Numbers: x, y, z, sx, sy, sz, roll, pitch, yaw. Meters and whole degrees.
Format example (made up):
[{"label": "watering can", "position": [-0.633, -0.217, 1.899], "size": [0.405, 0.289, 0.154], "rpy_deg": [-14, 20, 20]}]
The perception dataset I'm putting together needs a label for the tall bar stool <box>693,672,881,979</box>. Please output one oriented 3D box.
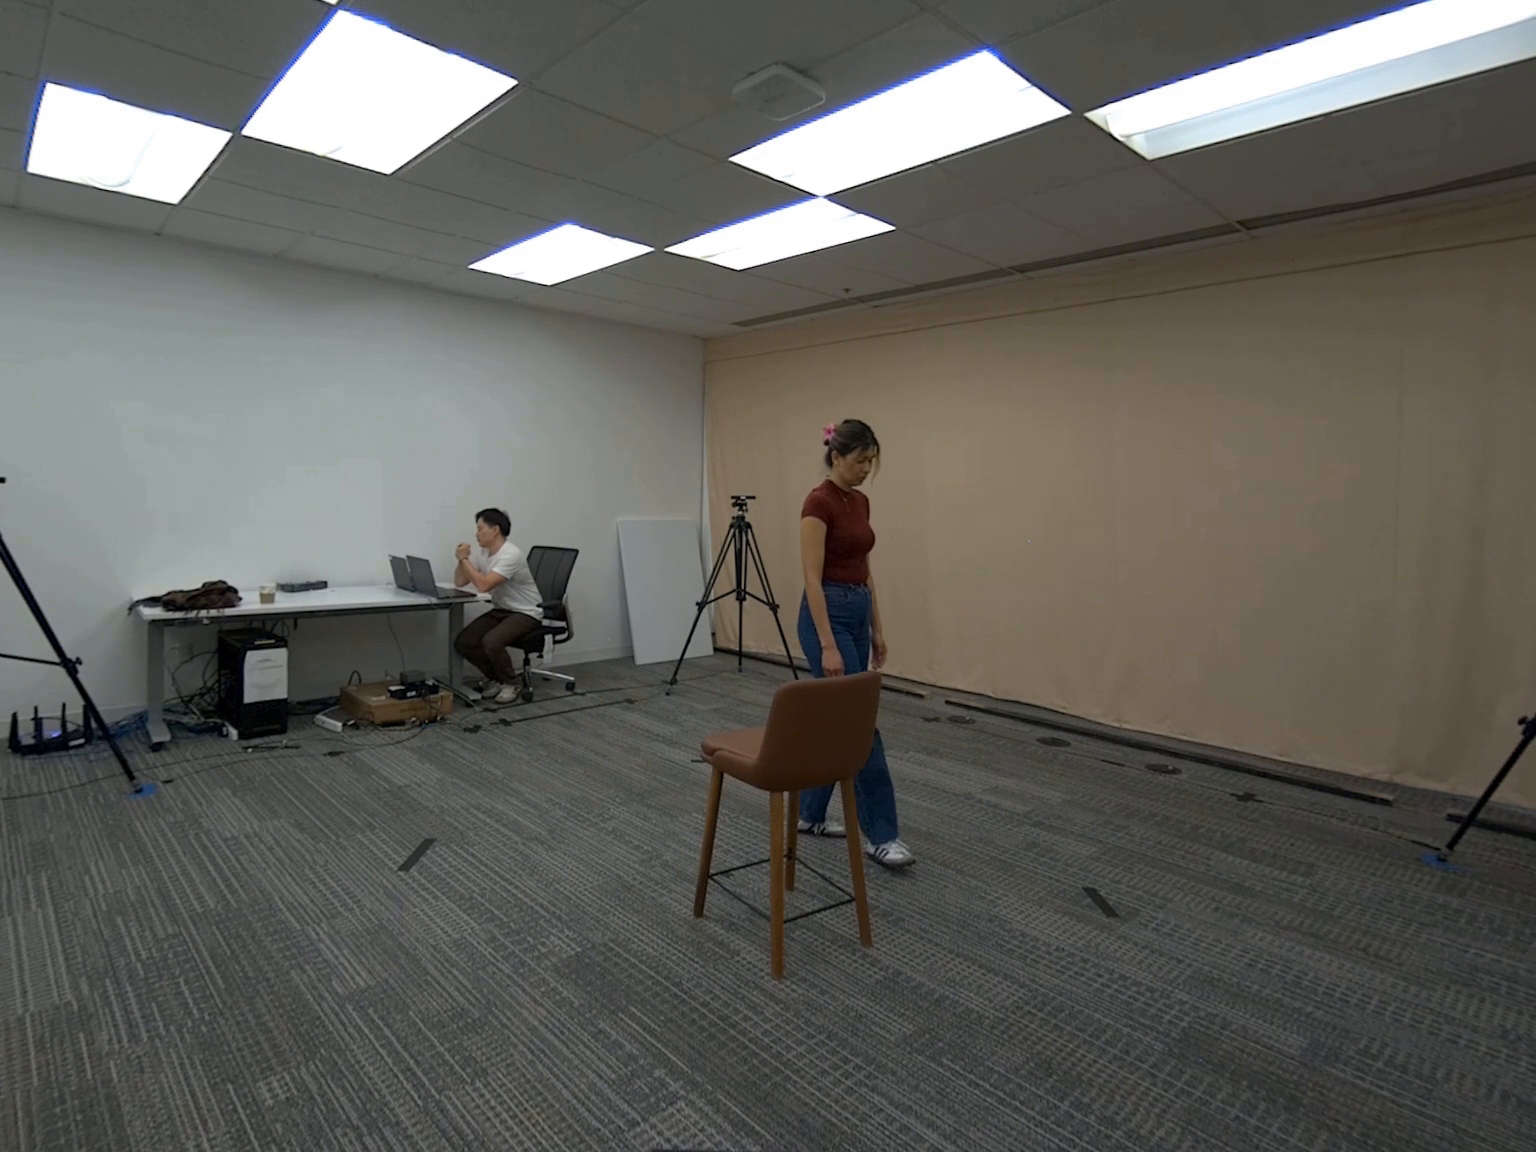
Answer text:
[{"label": "tall bar stool", "position": [0.053, 0.710, 2.684], "size": [0.447, 0.886, 0.479], "rpy_deg": [-2, 7, -35]}]
